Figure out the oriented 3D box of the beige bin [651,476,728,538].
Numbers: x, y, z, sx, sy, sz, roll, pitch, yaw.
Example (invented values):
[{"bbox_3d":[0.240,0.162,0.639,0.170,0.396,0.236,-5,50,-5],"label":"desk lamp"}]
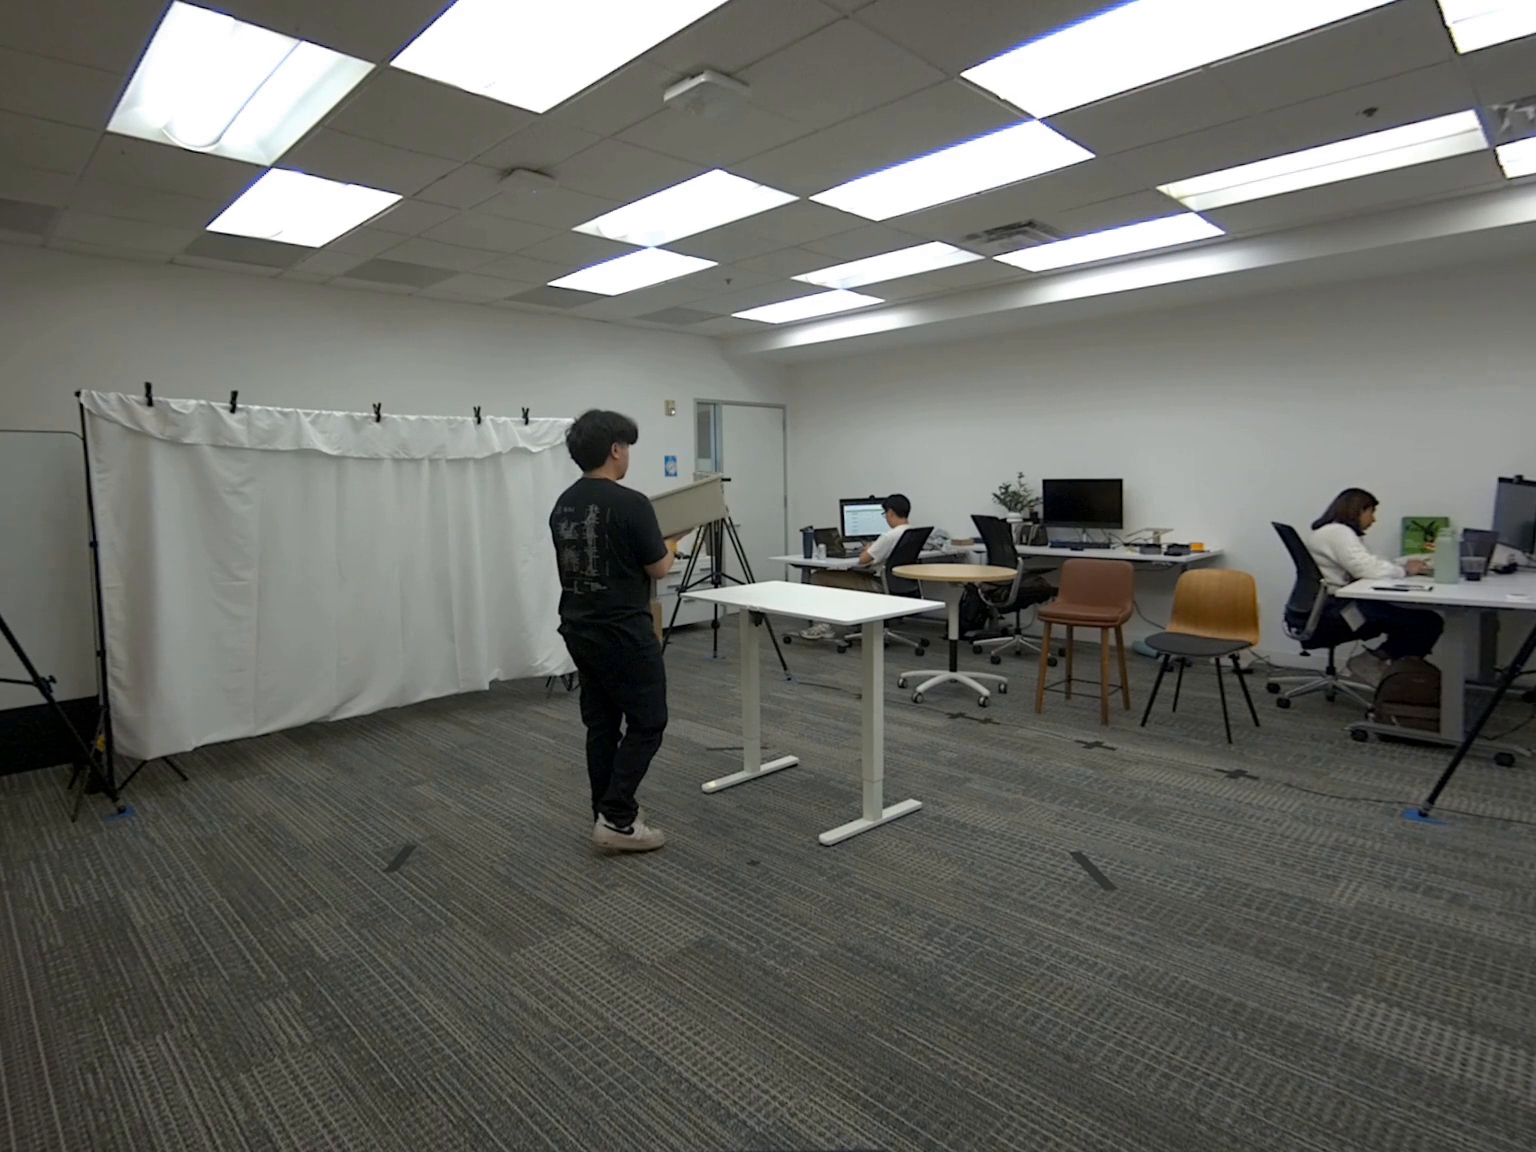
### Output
[{"bbox_3d":[-0.420,-0.280,3.534,0.417,0.186,0.388,-19,16,-21],"label":"beige bin"}]
